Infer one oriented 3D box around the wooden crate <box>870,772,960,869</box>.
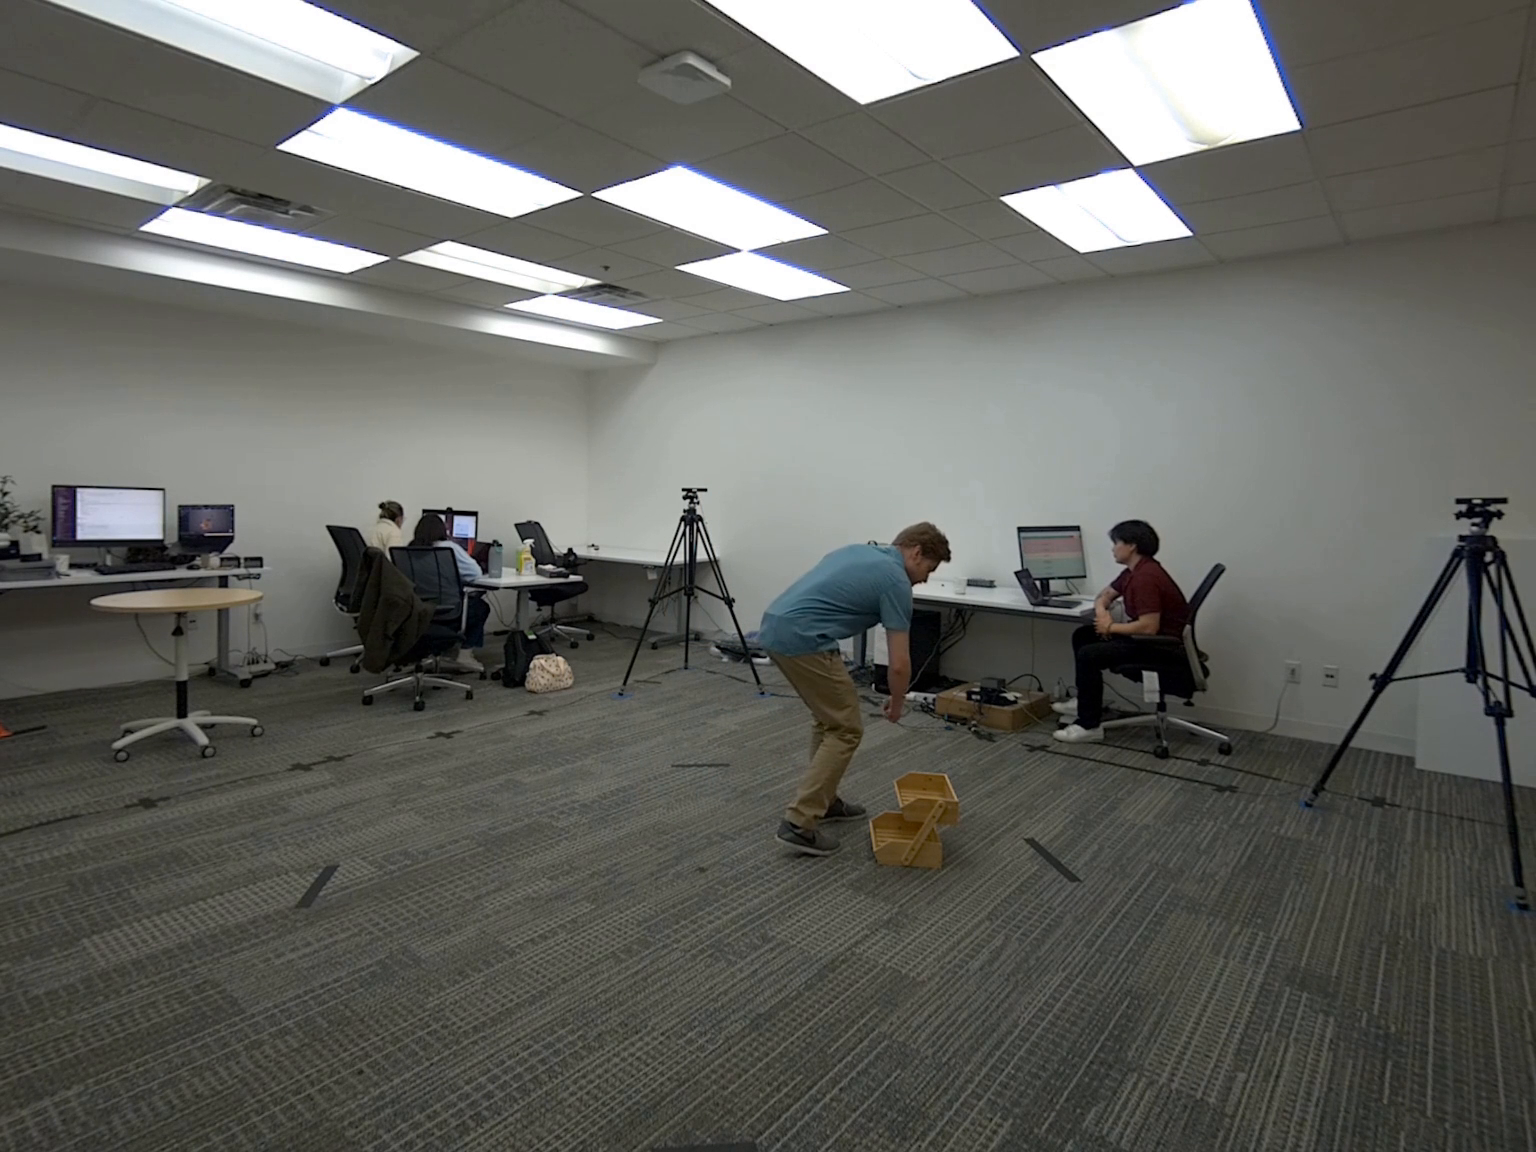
[{"bbox_3d":[0.545,0.928,3.314,0.304,0.272,0.323,3,5,5],"label":"wooden crate"}]
